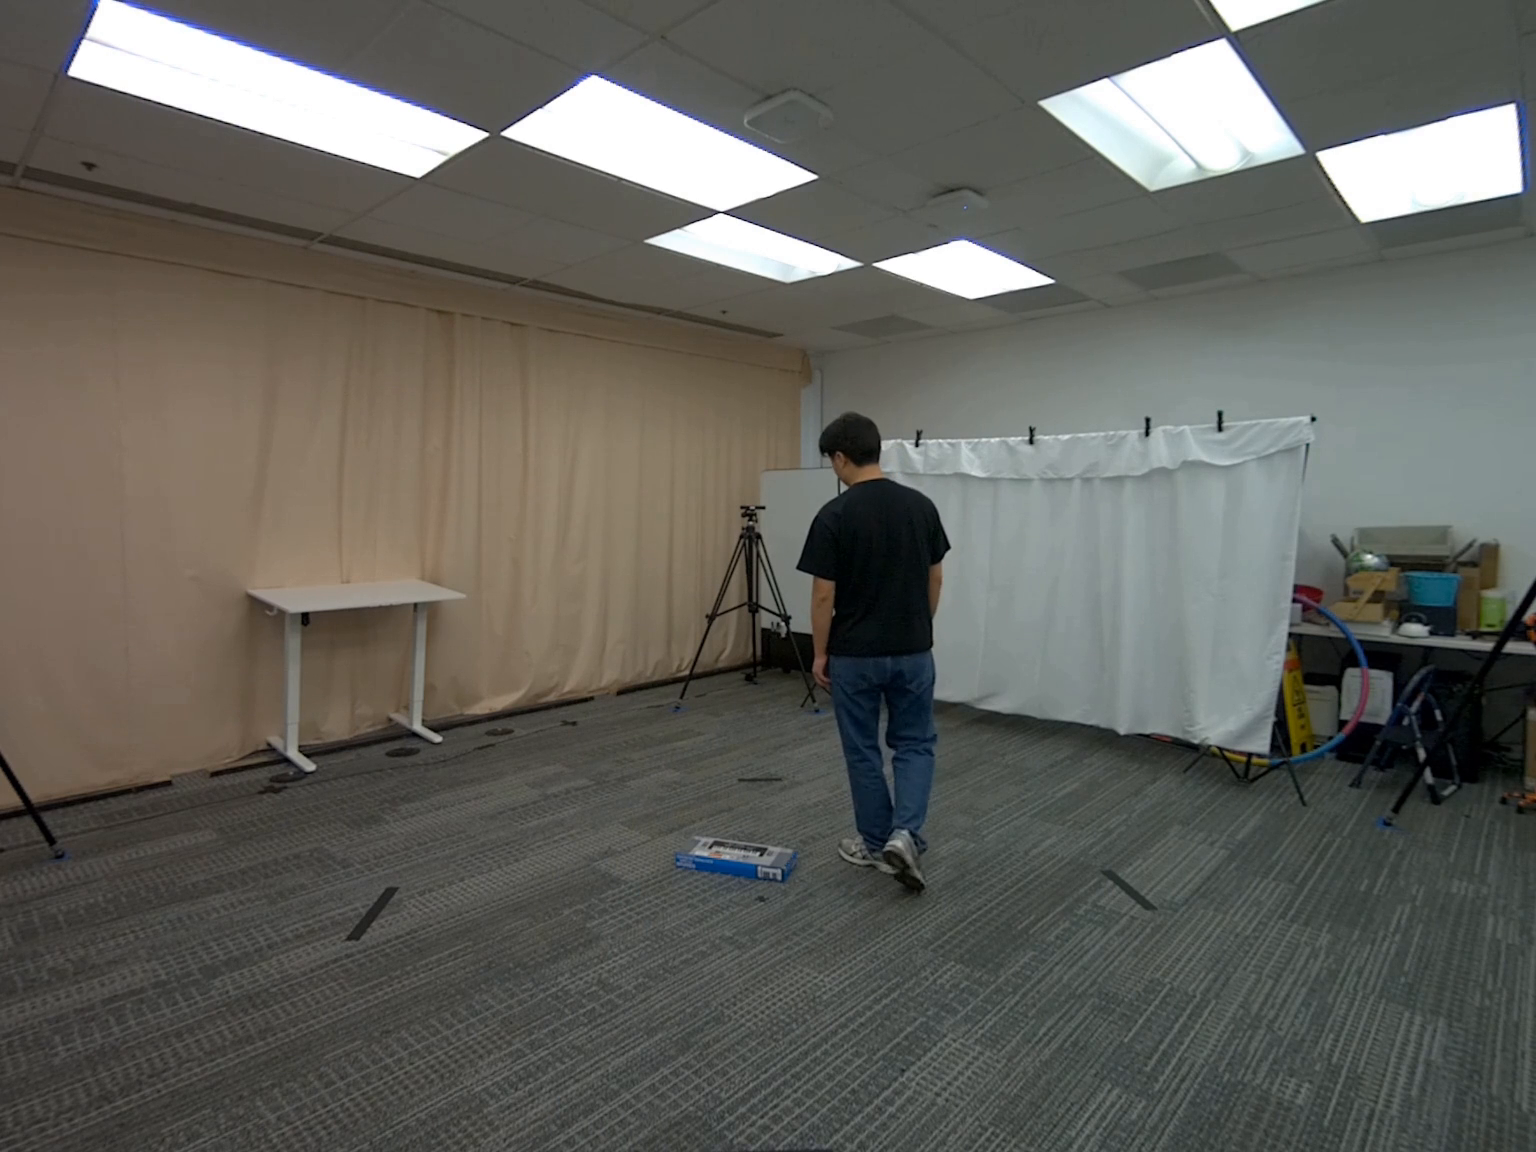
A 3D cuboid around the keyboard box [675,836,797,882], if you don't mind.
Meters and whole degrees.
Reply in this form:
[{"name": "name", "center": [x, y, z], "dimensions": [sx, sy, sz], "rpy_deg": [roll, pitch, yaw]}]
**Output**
[{"name": "keyboard box", "center": [-0.122, 1.094, 3.261], "dimensions": [0.446, 0.059, 0.173], "rpy_deg": [1, 5, 20]}]
